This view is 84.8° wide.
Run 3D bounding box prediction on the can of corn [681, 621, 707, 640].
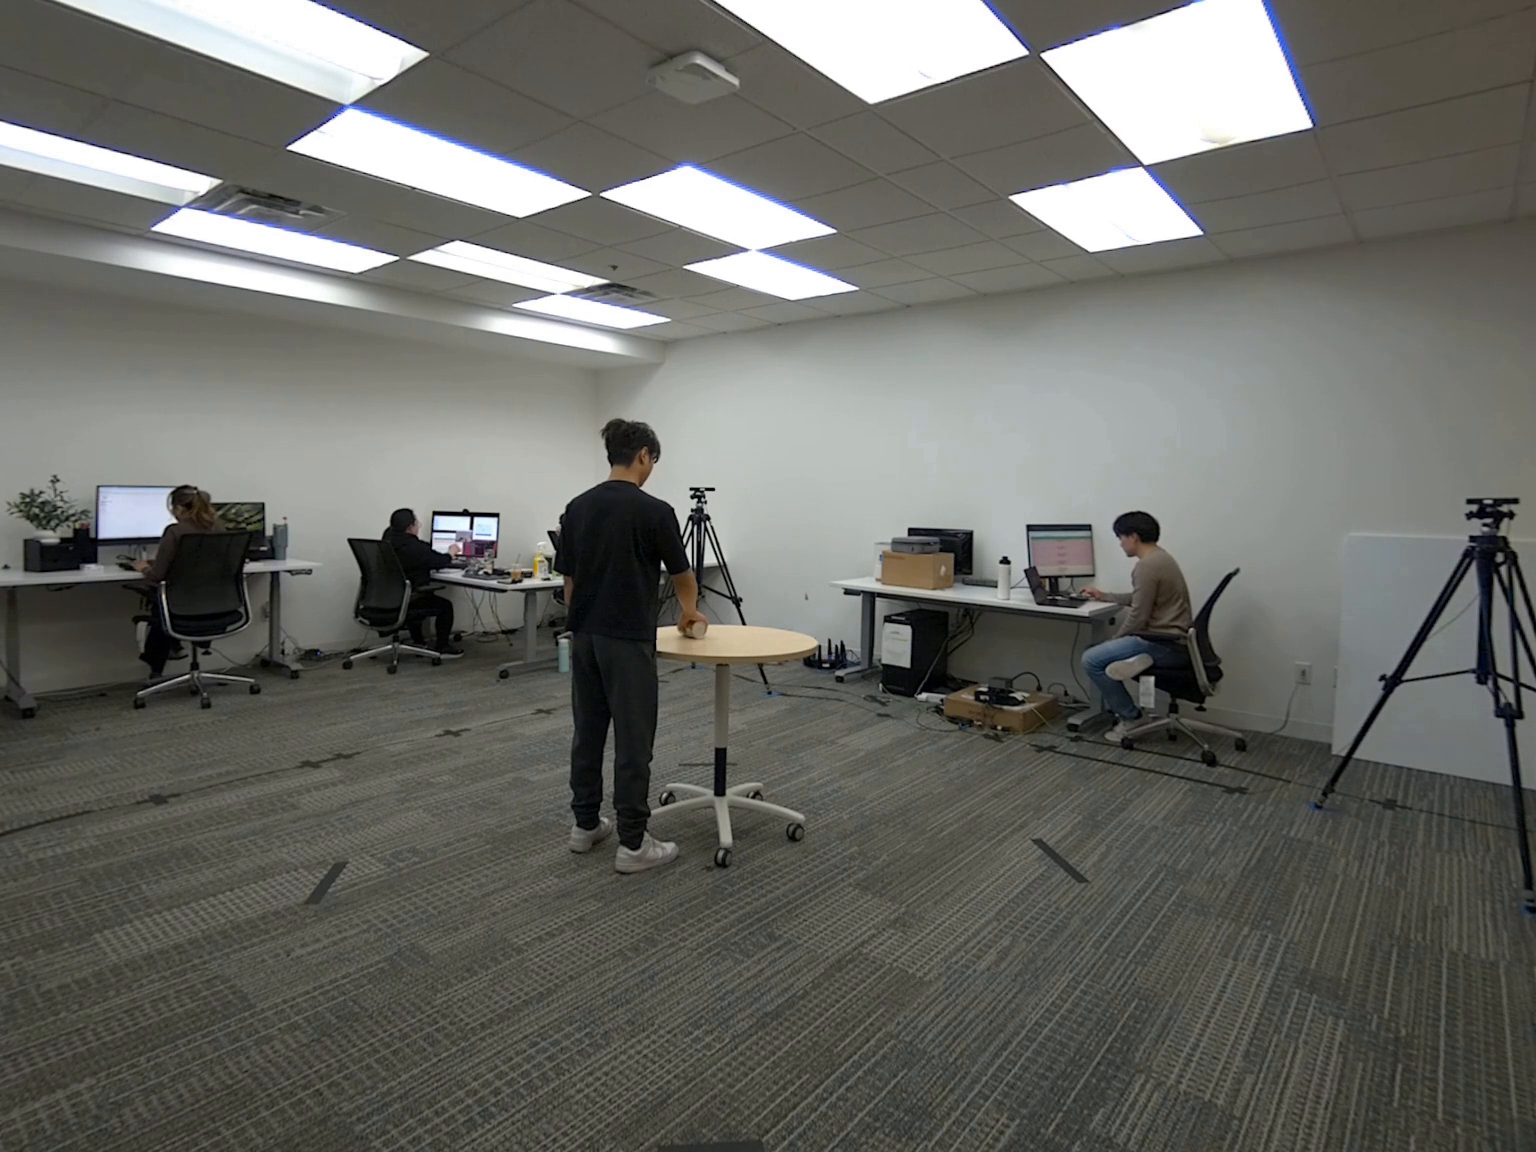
[{"bbox_3d":[-0.321,0.208,3.485,0.072,0.074,0.114,-1,6,-28],"label":"can of corn"}]
